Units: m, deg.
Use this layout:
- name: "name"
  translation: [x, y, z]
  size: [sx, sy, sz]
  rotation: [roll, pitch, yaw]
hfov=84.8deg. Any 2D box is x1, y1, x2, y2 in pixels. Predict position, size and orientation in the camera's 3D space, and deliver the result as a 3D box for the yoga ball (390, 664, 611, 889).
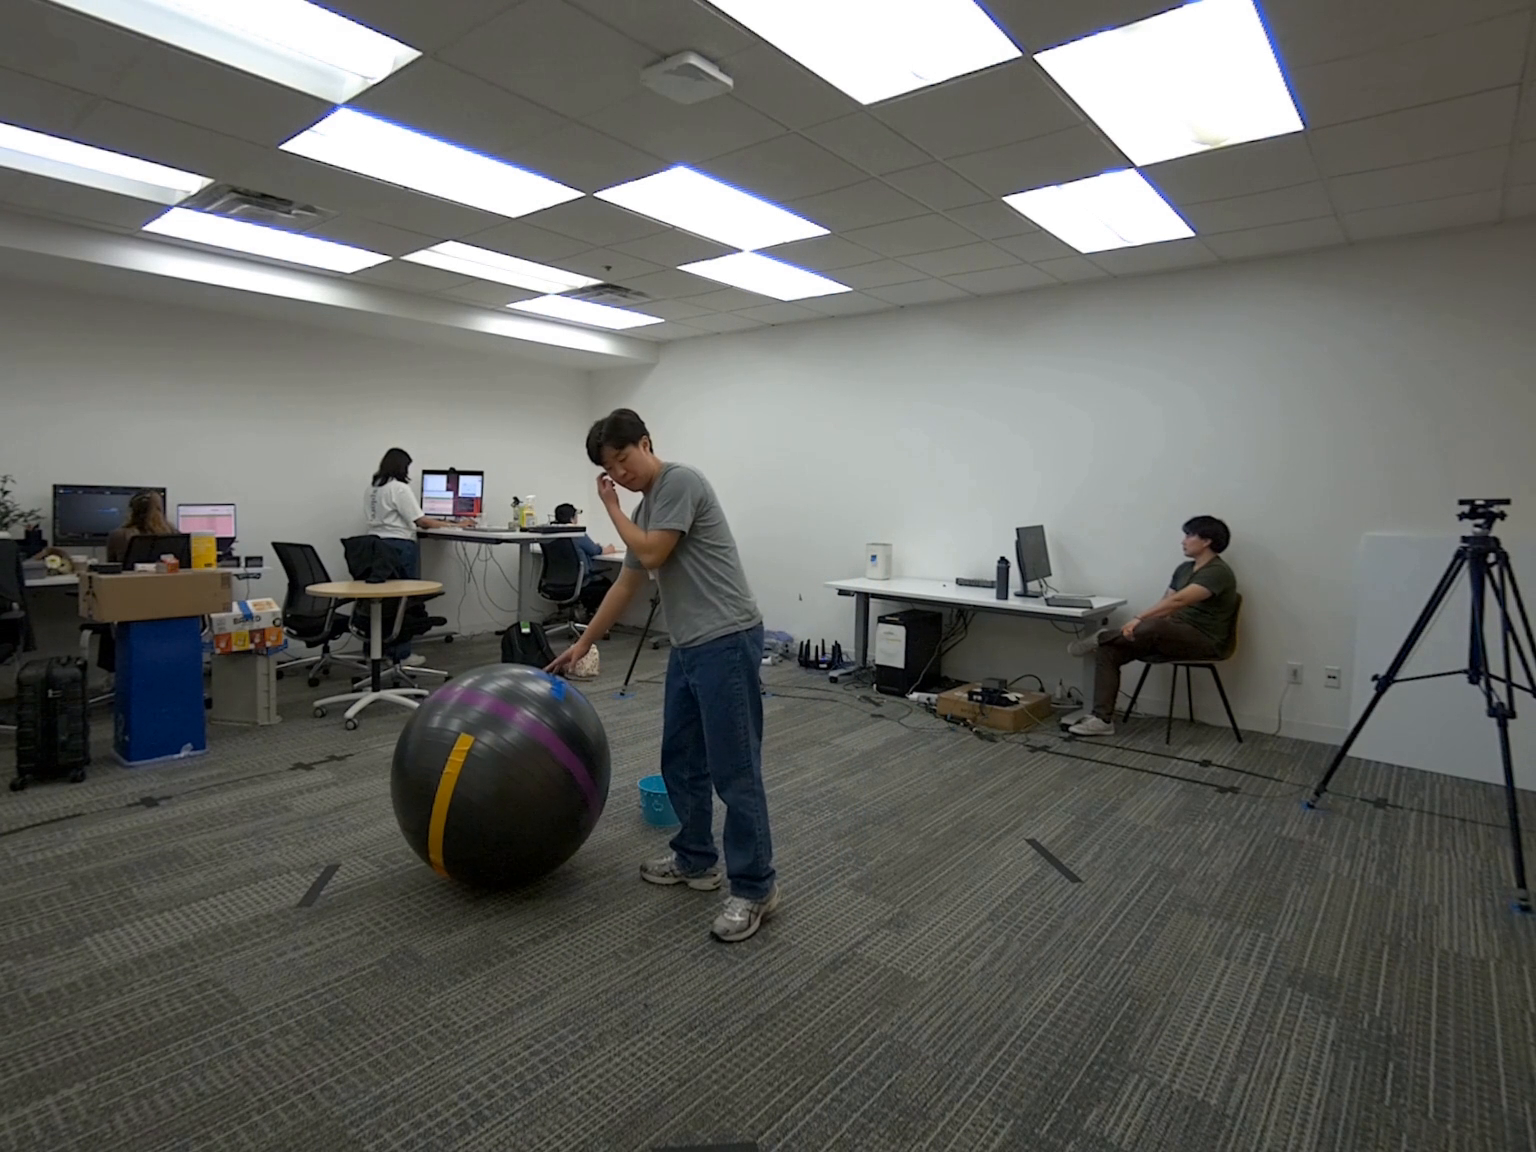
- name: "yoga ball"
  translation: [-0.943, 0.692, 3.009]
  size: [0.757, 0.755, 0.762]
  rotation: [1, 4, -2]
